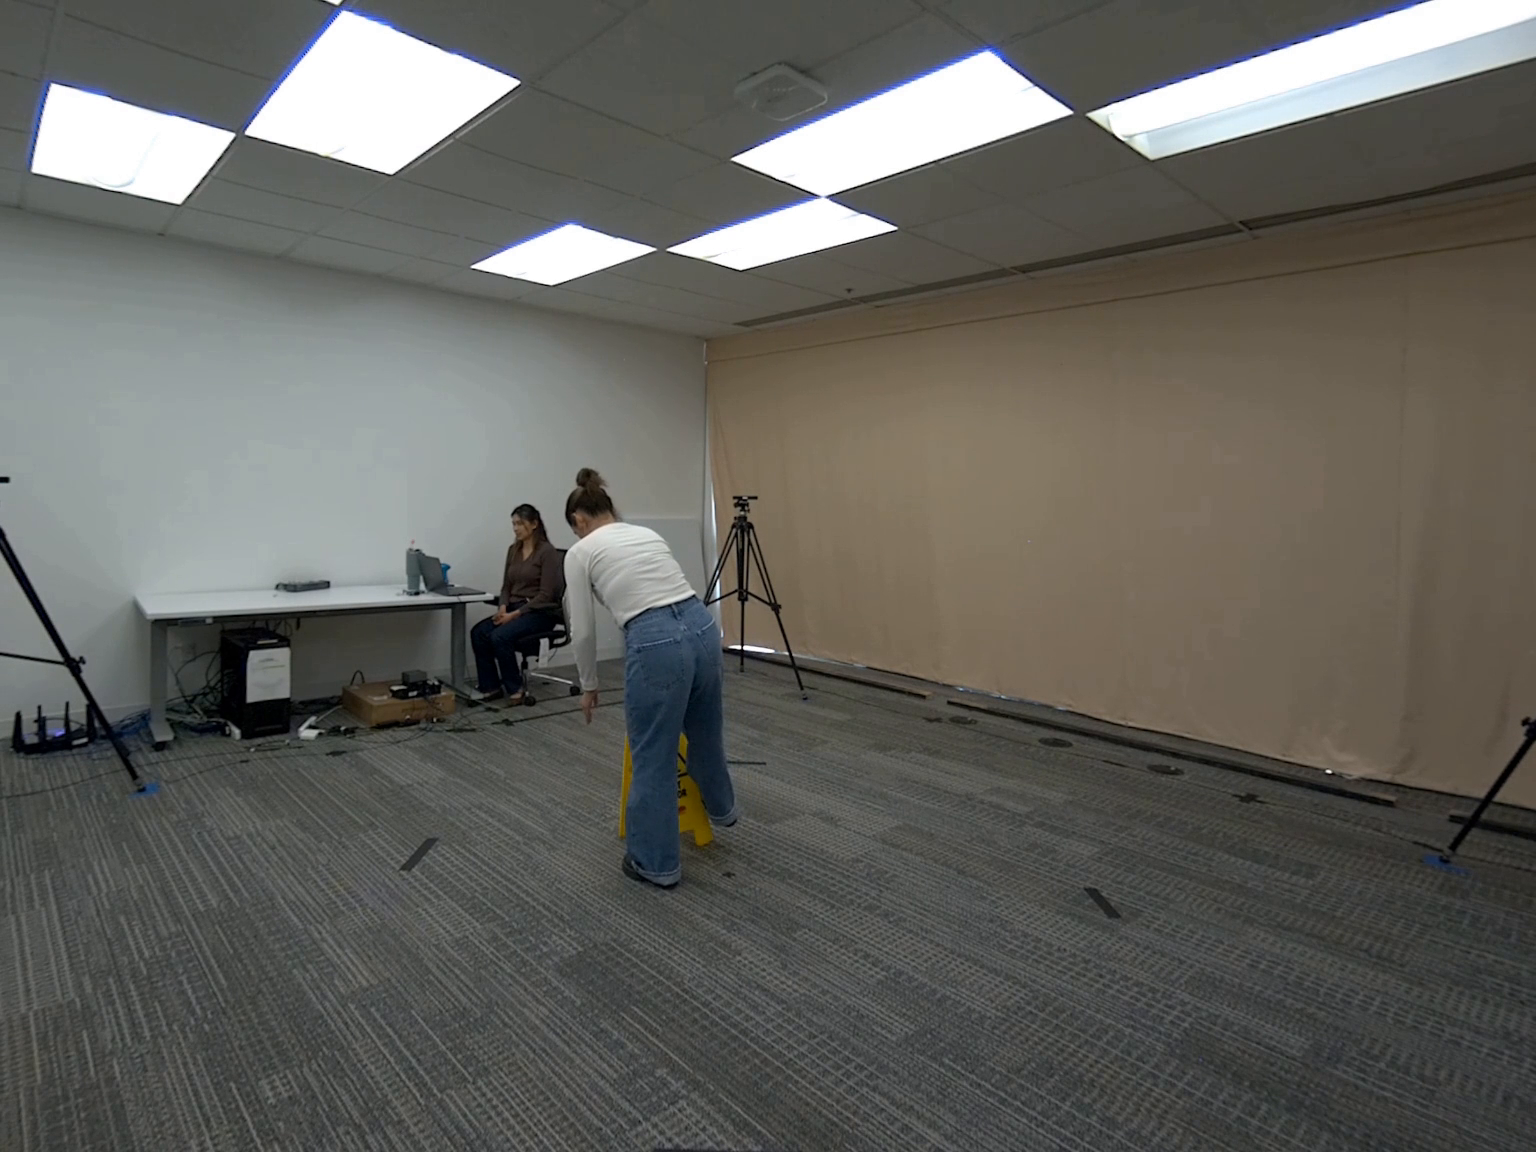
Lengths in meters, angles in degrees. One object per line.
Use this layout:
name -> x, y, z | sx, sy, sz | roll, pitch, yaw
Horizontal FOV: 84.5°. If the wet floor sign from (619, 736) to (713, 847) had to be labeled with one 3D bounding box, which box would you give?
wet floor sign -> -0.432, 0.744, 3.336 | 0.277, 0.642, 0.297 | -11, 10, -36
